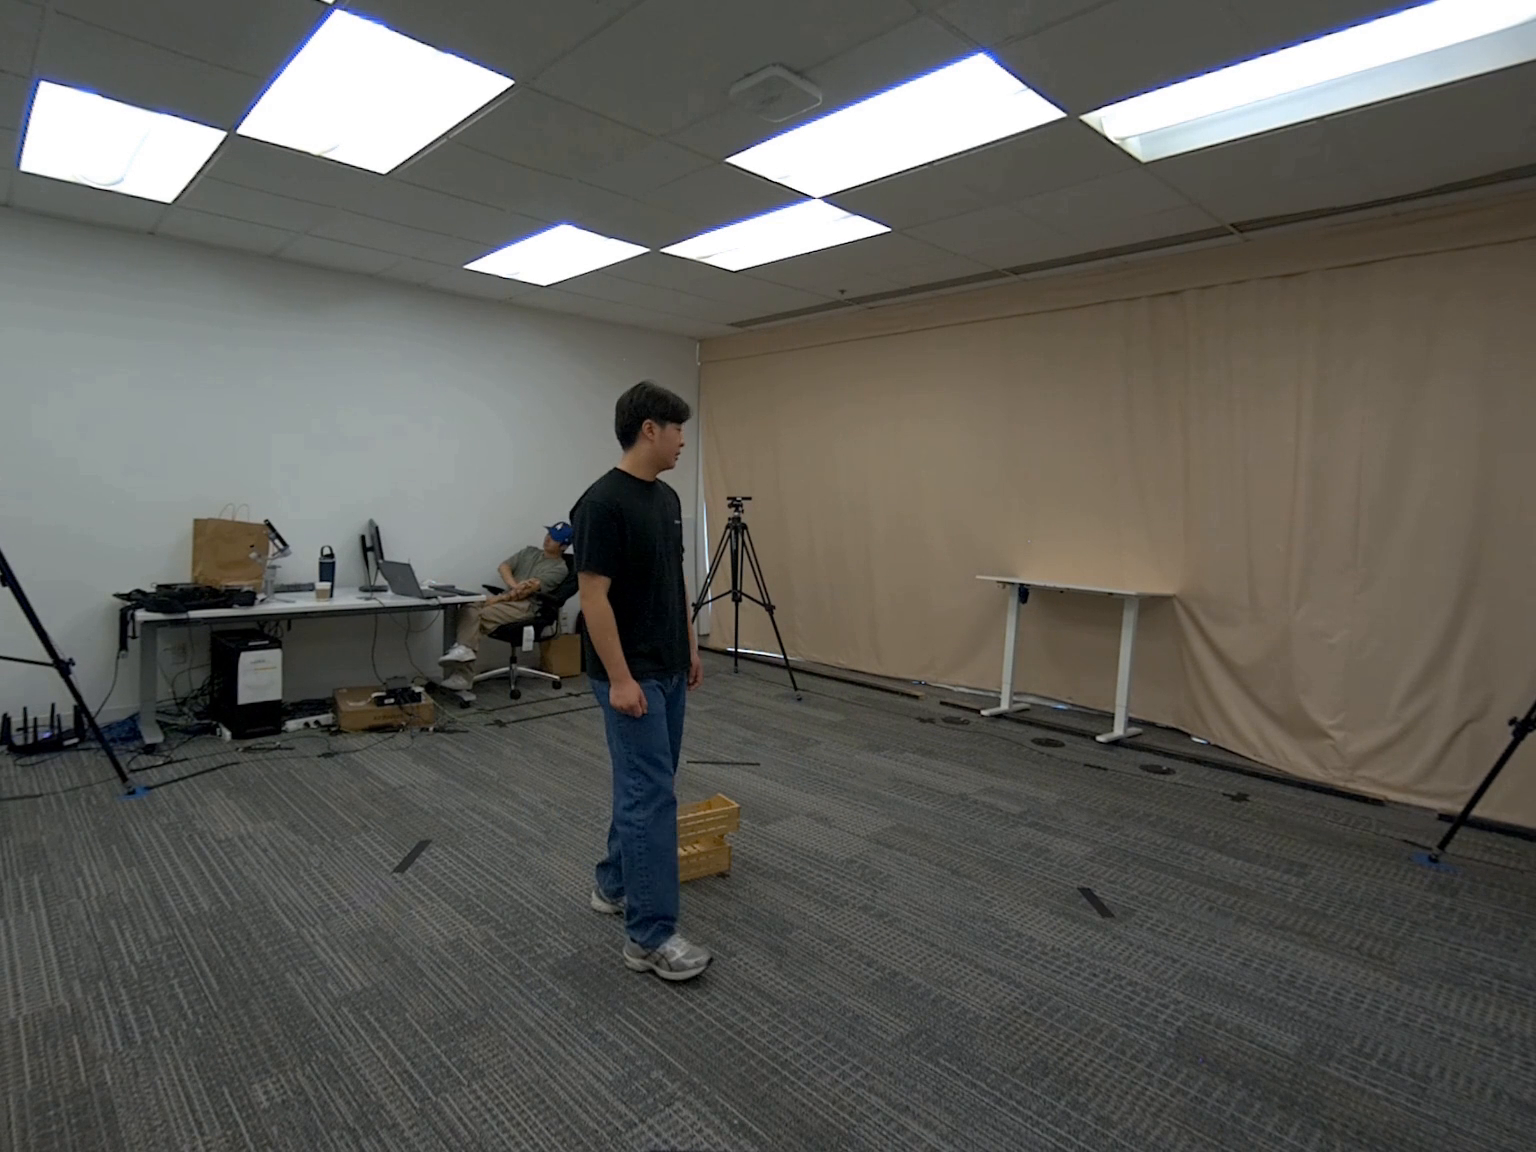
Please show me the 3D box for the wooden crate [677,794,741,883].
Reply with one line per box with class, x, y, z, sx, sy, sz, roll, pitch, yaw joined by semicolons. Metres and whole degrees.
wooden crate;-0.320;0.967;3.155;0.317;0.272;0.309;-2;6;-34
